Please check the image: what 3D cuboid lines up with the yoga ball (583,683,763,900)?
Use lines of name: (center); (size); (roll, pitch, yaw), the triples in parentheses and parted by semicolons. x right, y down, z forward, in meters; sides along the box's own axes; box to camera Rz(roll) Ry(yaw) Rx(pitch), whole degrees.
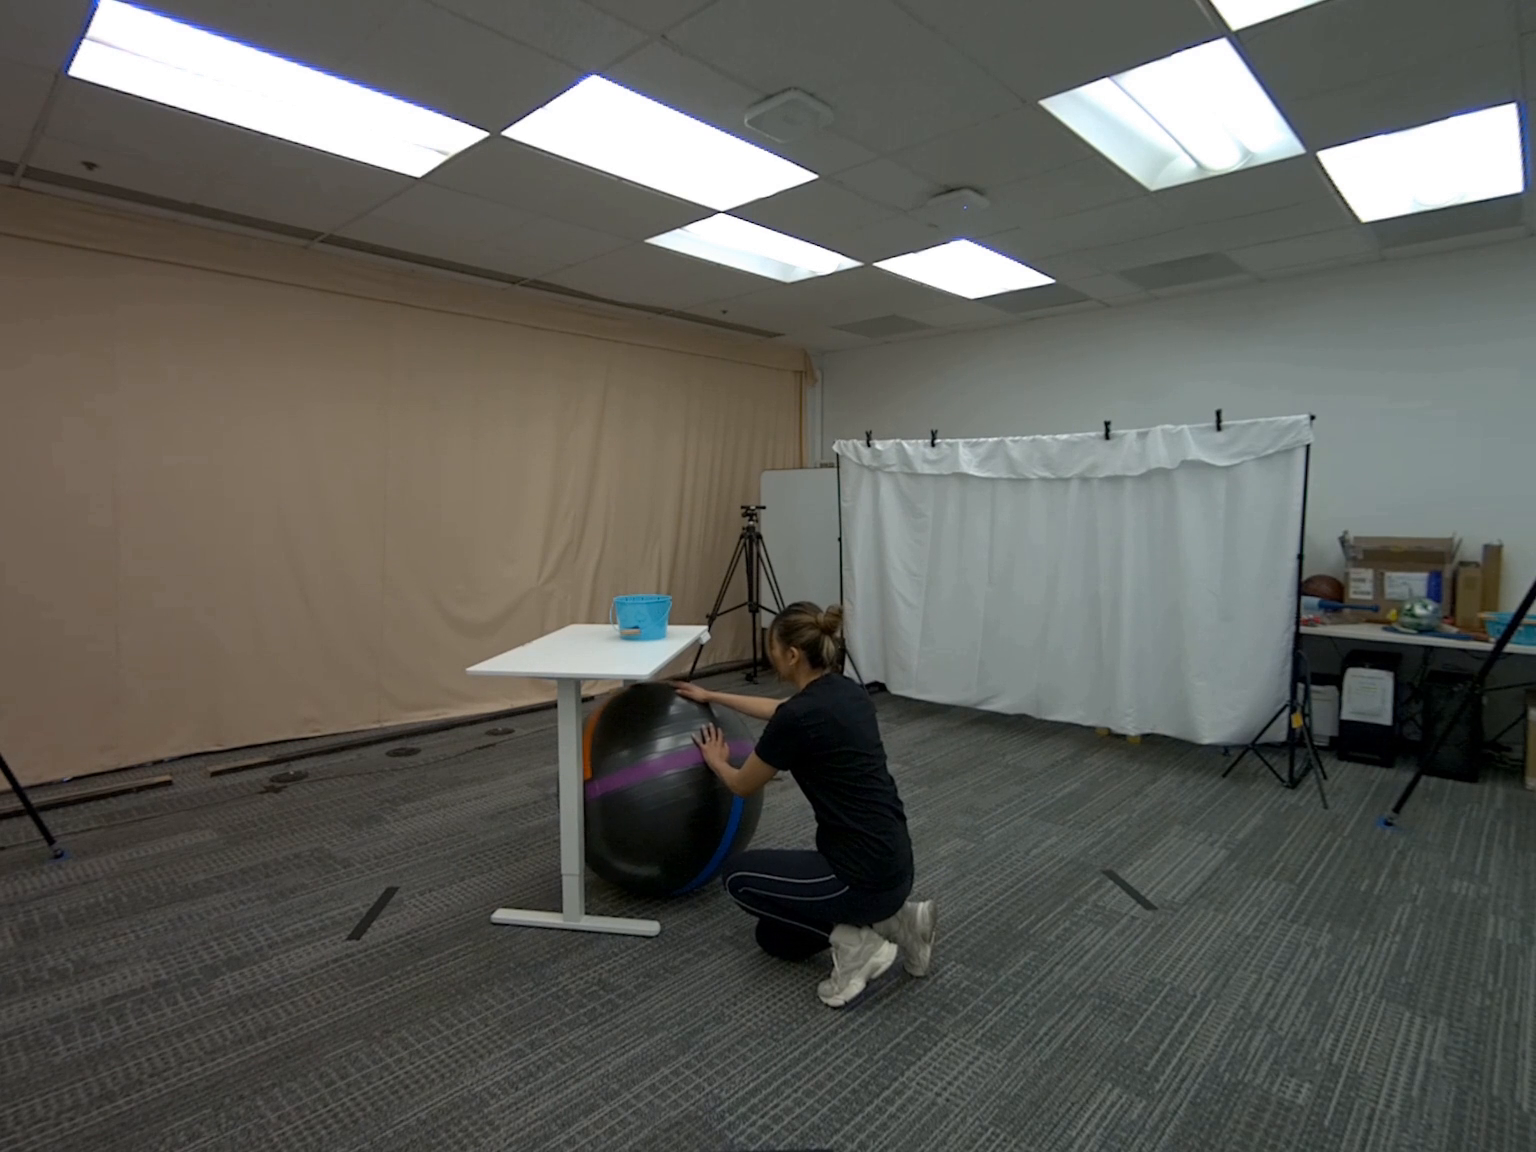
yoga ball: (-0.401, 0.784, 3.106); (0.757, 0.756, 0.761); (0, 4, -2)
